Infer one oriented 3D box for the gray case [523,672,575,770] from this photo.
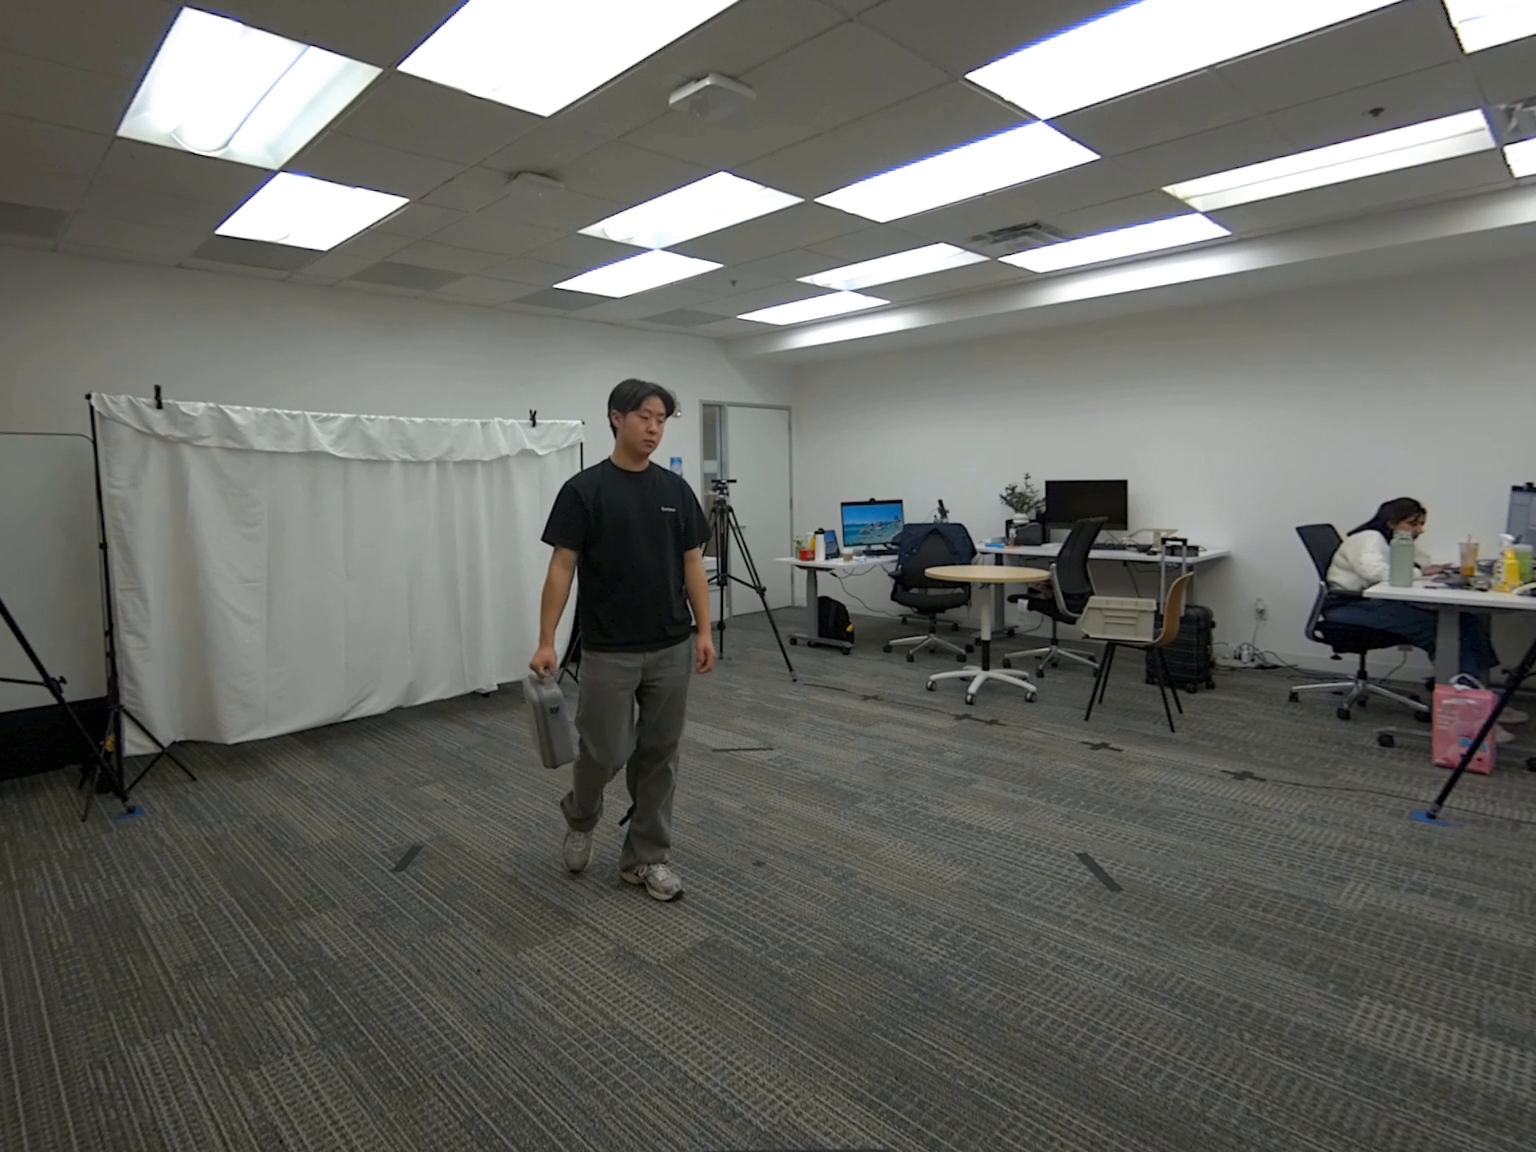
[{"bbox_3d":[-0.705,0.446,2.781,0.101,0.284,0.270,-7,12,-22],"label":"gray case"}]
